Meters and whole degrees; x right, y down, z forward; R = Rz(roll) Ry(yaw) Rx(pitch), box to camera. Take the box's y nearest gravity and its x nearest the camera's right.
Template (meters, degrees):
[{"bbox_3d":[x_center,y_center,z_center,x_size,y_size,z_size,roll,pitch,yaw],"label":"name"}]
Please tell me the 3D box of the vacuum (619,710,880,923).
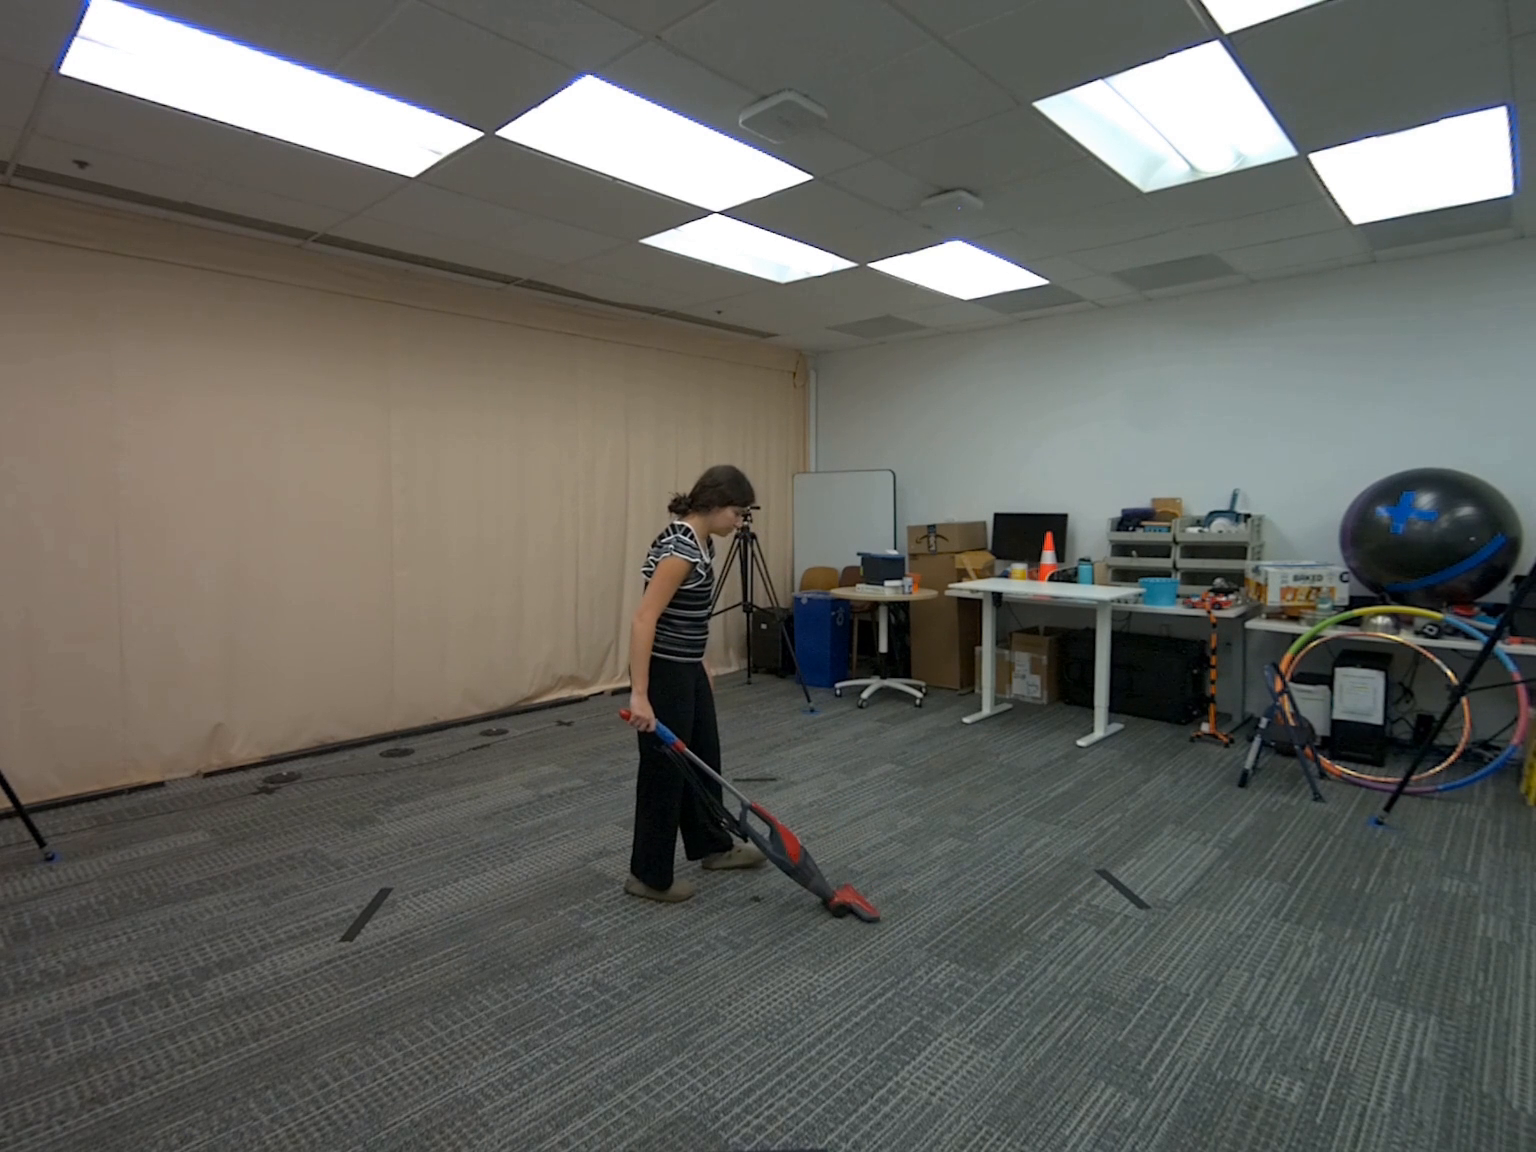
[{"bbox_3d":[-0.070,0.795,2.798,1.031,0.144,0.257,43,-6,-15],"label":"vacuum"}]
